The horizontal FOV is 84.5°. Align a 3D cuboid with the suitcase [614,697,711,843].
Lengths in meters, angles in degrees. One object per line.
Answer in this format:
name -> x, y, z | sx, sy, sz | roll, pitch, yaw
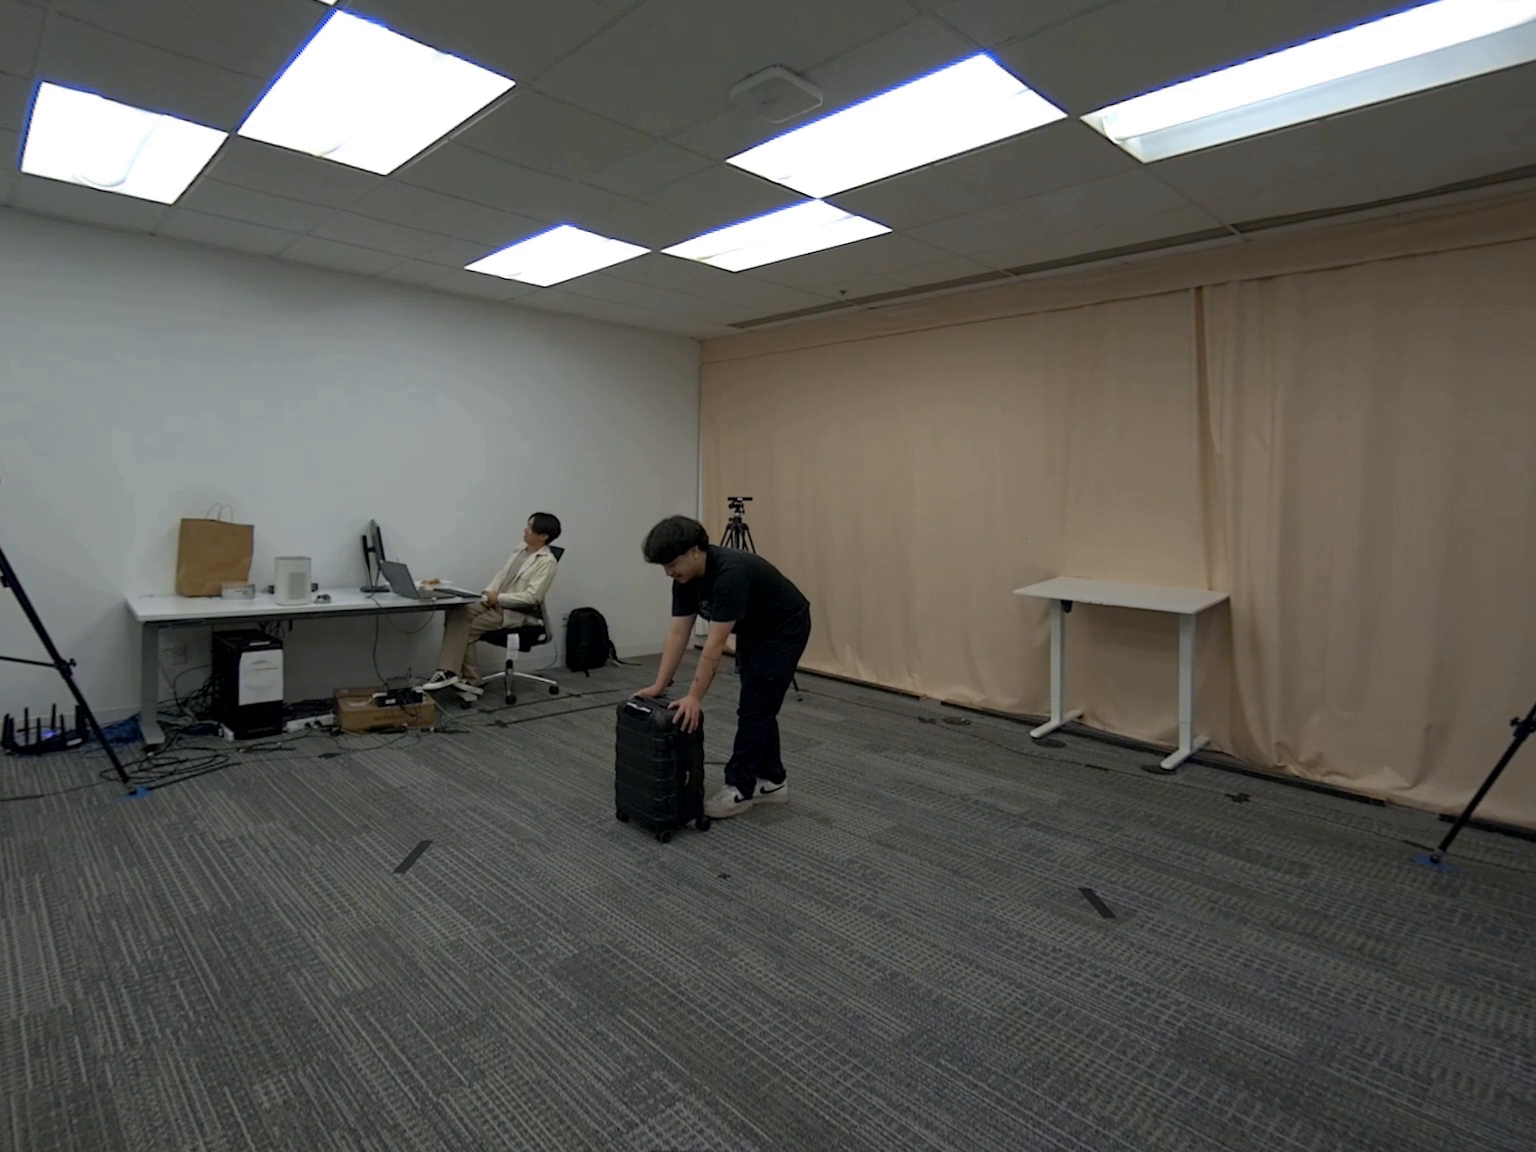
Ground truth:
suitcase -> -0.466, 0.788, 3.550 | 0.243, 0.547, 0.385 | -4, 7, -43
